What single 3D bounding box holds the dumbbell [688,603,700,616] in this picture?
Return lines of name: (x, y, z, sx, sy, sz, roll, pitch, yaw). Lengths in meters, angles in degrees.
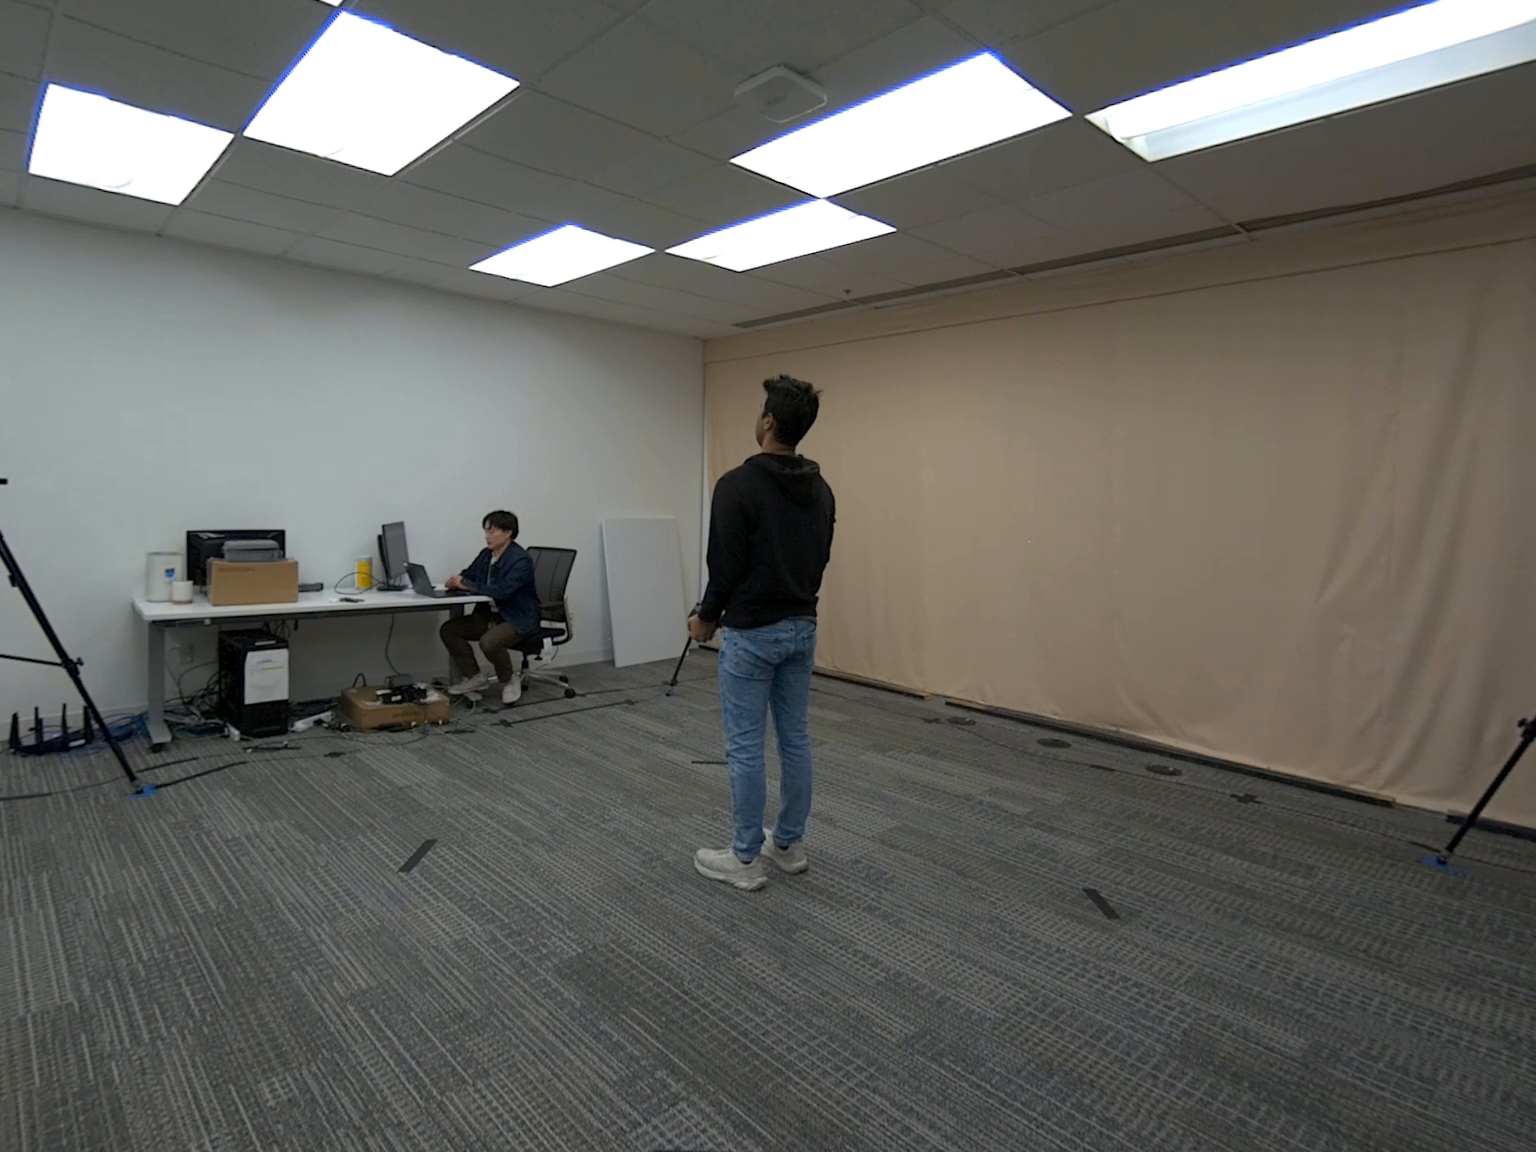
dumbbell: (-0.162, 0.165, 3.257, 0.287, 0.124, 0.110, 0, -12, -37)
